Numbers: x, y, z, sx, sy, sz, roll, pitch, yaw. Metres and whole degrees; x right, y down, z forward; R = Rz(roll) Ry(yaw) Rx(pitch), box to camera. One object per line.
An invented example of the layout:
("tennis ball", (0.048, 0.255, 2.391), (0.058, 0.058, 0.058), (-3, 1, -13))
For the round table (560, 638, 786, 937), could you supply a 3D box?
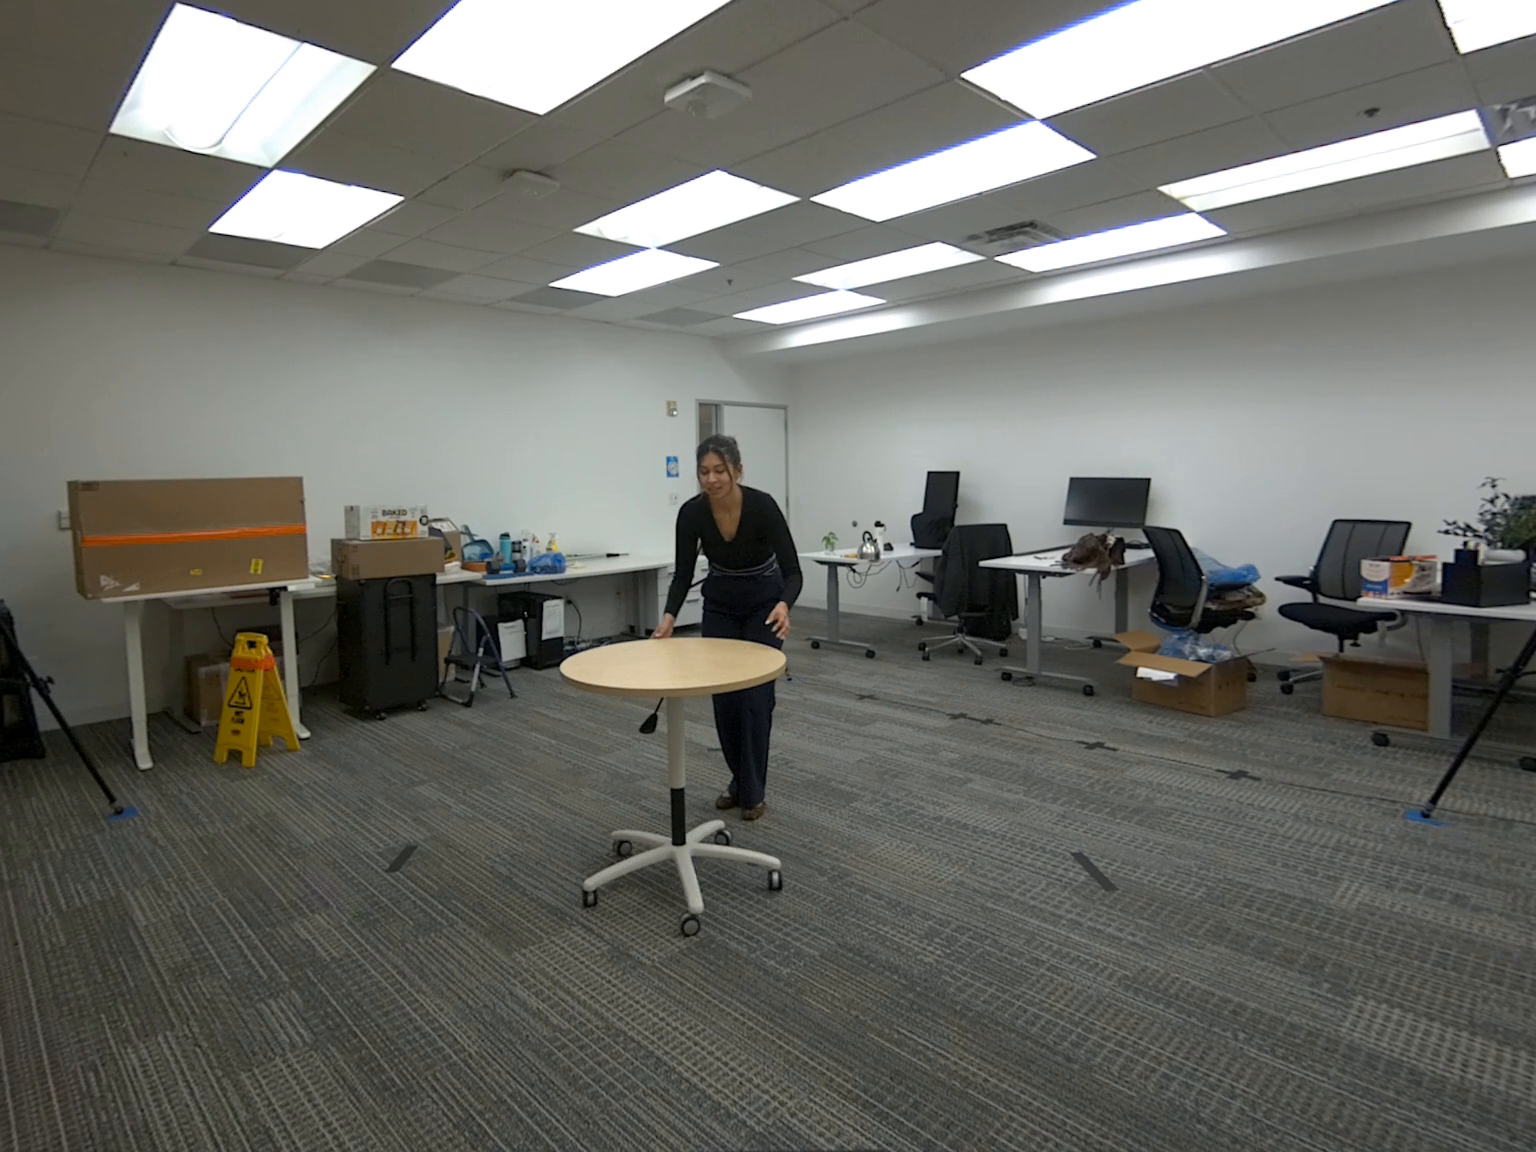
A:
("round table", (-0.313, 0.679, 2.933), (0.763, 0.790, 0.768), (-2, 5, -2))
